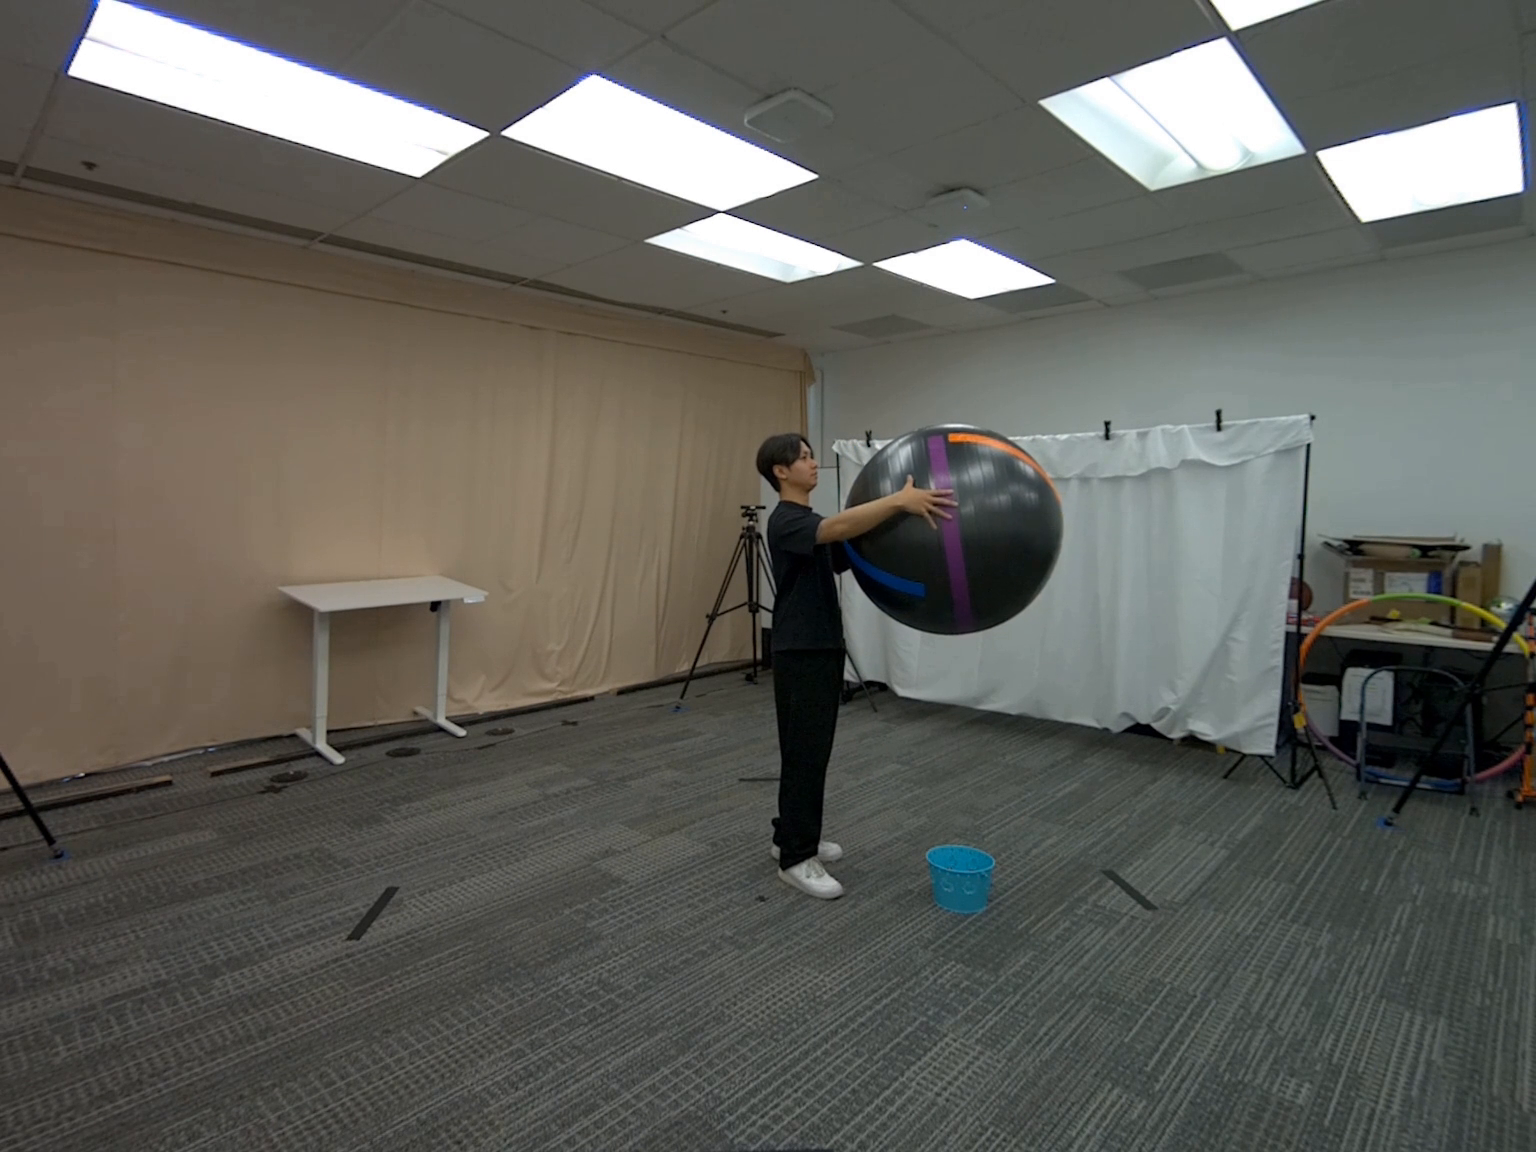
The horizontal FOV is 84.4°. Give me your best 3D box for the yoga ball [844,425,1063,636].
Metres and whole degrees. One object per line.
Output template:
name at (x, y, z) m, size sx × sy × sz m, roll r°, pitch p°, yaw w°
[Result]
yoga ball at (0.670, -0.164, 3.048) m, size 0.757 × 0.756 × 0.760 m, roll 0°, pitch 4°, yaw -2°
